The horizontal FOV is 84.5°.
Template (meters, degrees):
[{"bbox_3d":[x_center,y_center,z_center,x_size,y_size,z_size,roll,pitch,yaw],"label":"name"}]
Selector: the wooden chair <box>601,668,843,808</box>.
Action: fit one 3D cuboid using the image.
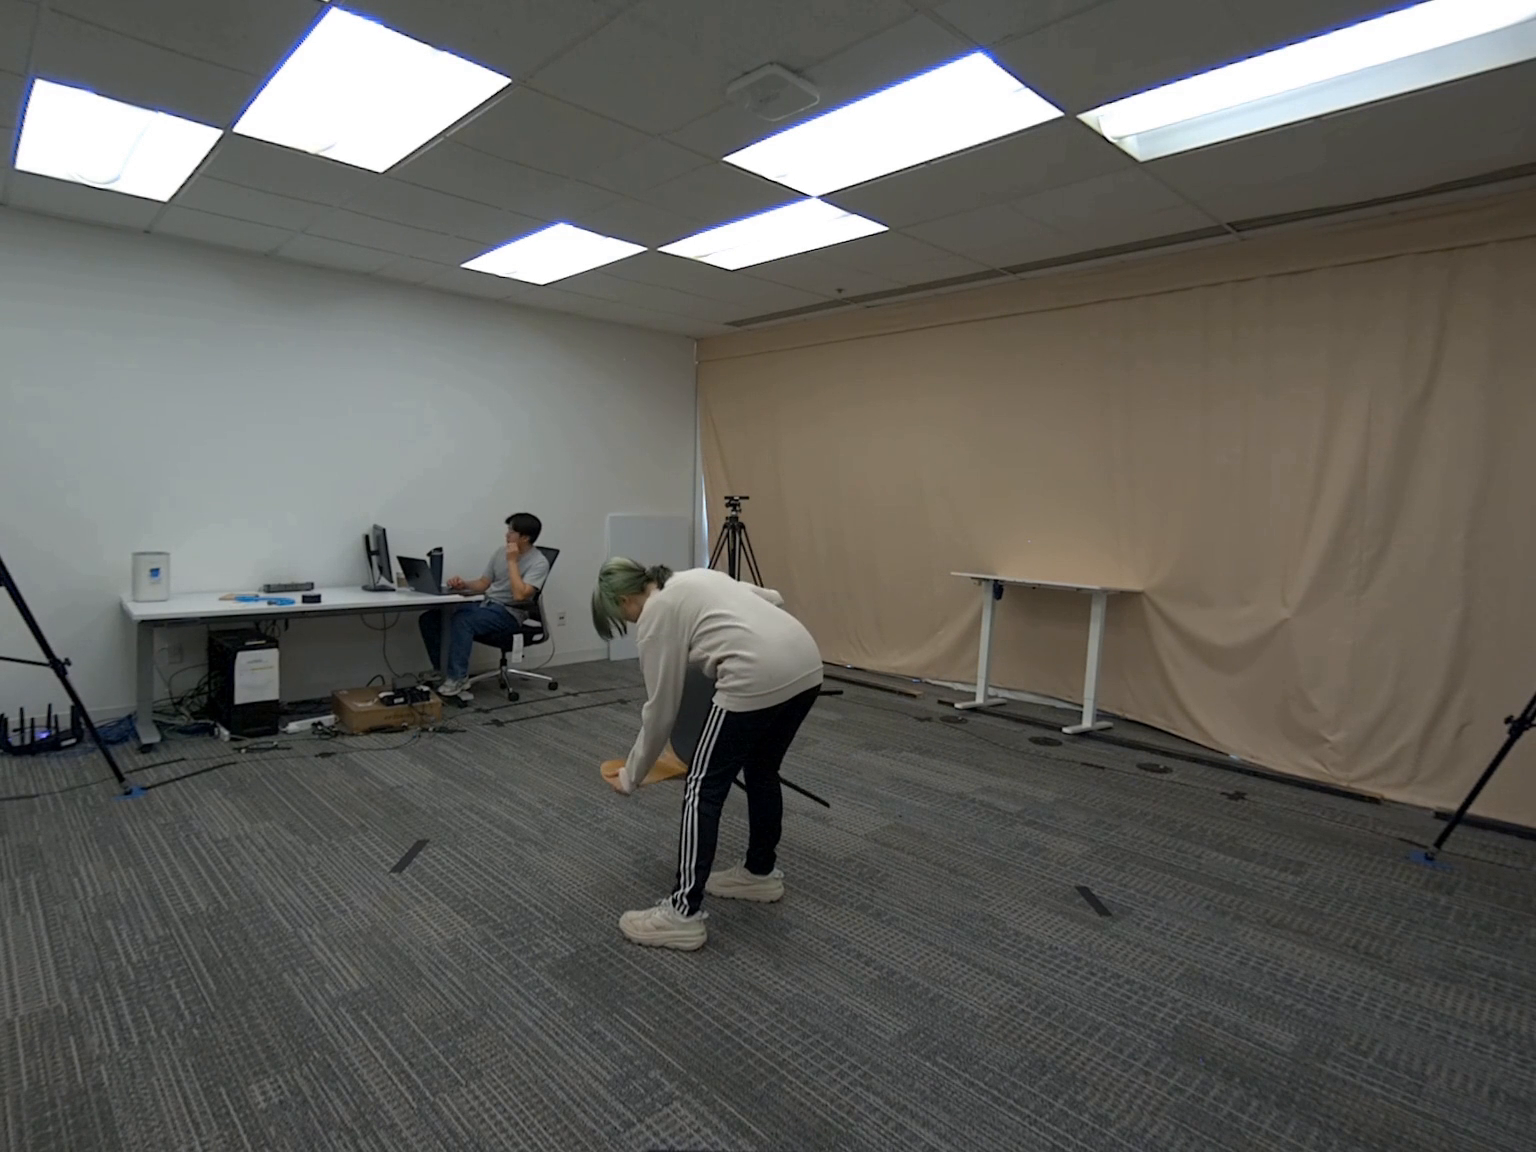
[{"bbox_3d":[-0.186,0.578,3.224,0.852,0.527,0.488,16,-16,-42],"label":"wooden chair"}]
